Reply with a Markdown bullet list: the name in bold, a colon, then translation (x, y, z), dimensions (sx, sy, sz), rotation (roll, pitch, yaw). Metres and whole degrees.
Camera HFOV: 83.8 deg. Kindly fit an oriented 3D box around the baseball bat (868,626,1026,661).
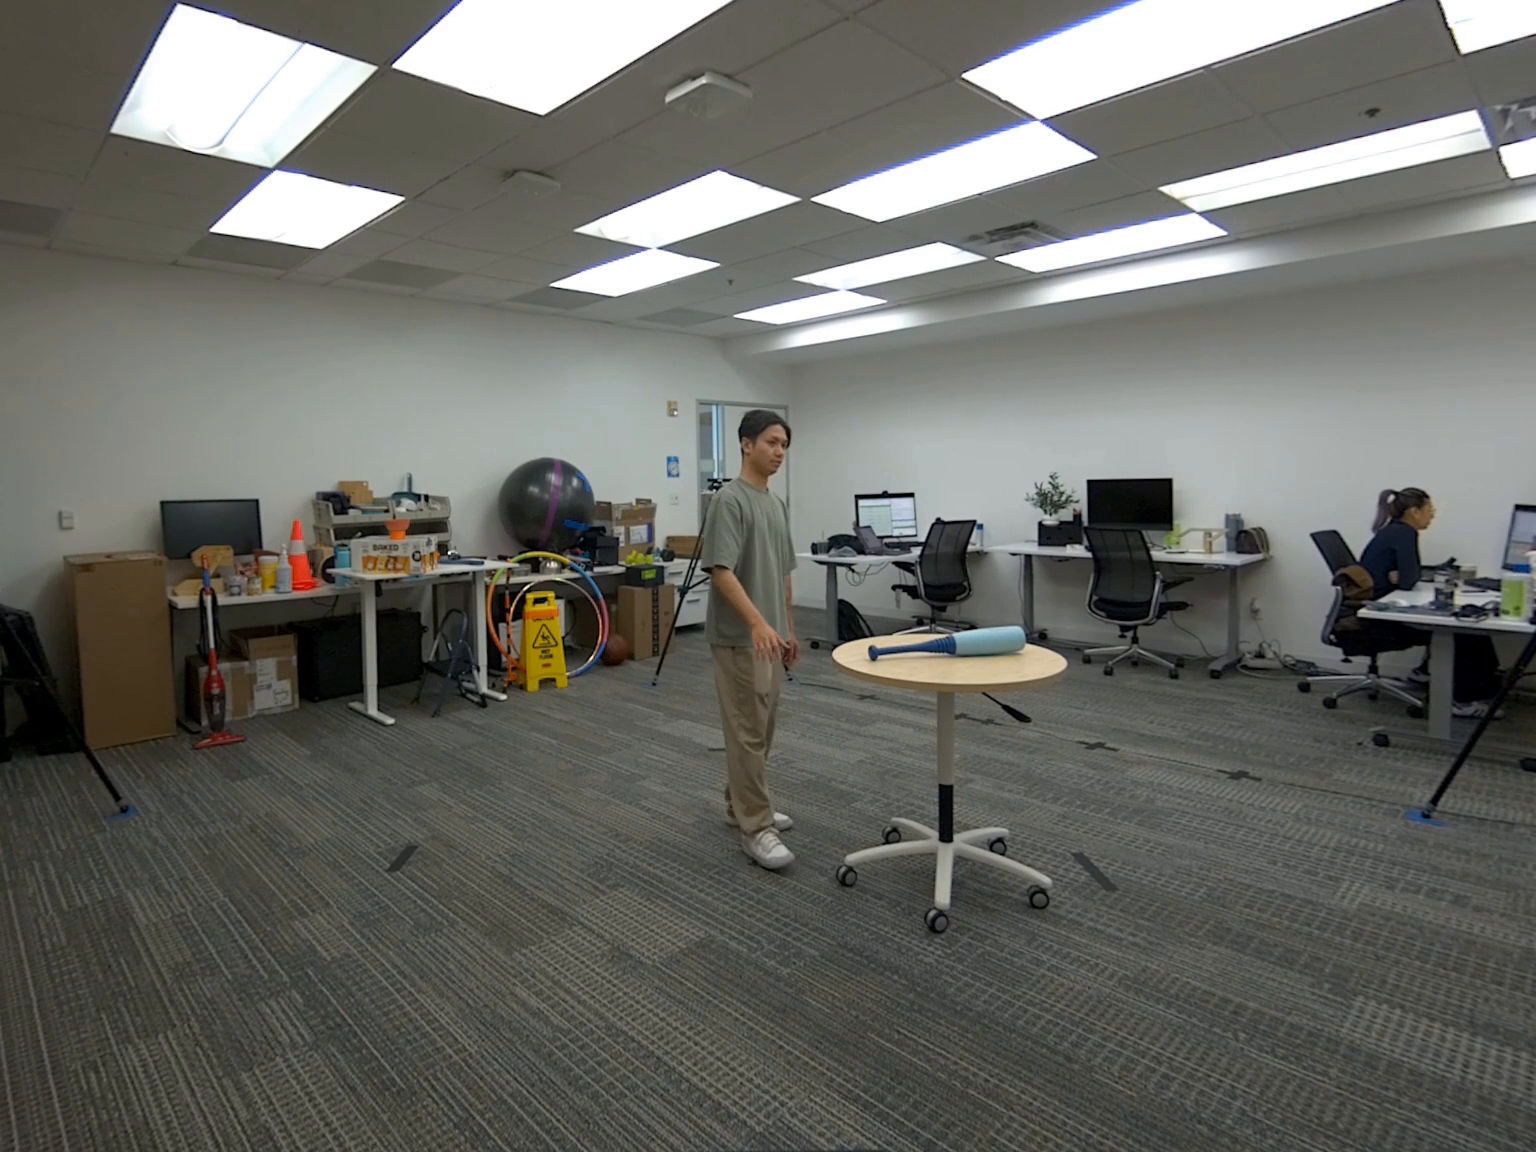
- **baseball bat**: translation (0.610, 0.237, 2.883), dimensions (0.538, 0.088, 0.090), rotation (-5, 6, -10)
